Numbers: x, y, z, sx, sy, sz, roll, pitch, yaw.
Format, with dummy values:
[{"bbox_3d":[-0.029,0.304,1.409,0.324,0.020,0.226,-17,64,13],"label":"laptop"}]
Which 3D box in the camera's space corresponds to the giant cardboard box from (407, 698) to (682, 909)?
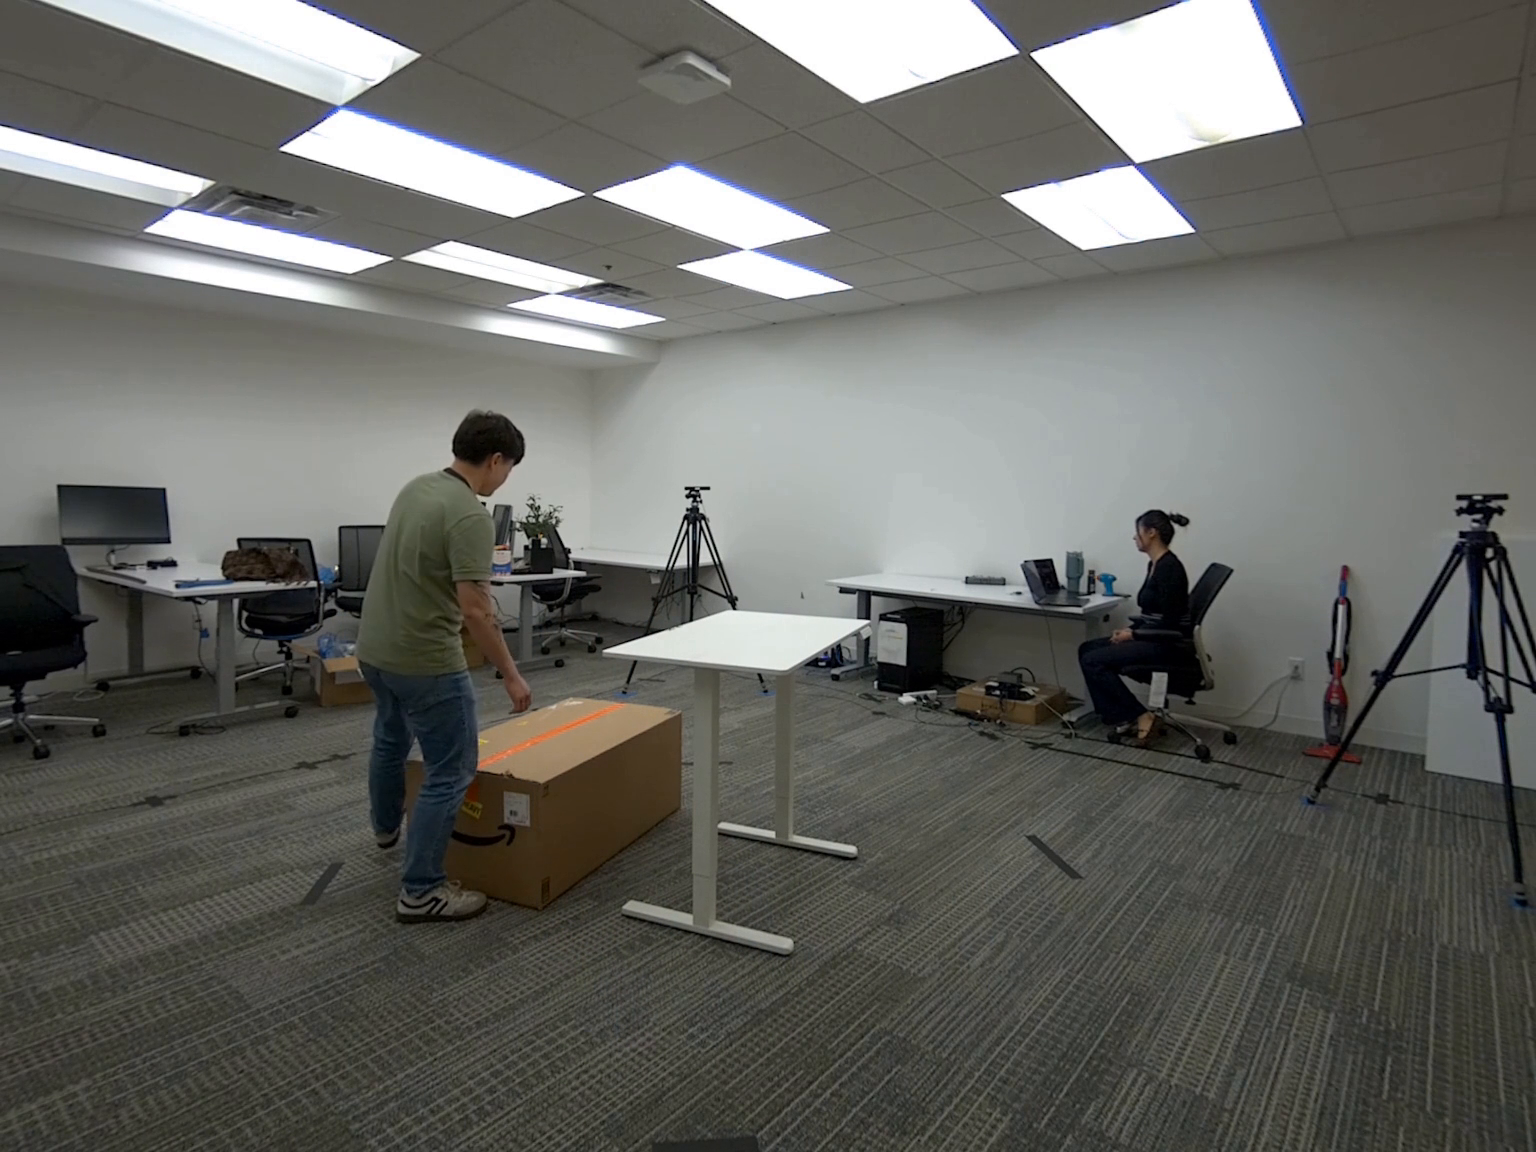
[{"bbox_3d":[-0.829,0.822,3.337,0.591,0.424,1.006,1,5,22],"label":"giant cardboard box"}]
